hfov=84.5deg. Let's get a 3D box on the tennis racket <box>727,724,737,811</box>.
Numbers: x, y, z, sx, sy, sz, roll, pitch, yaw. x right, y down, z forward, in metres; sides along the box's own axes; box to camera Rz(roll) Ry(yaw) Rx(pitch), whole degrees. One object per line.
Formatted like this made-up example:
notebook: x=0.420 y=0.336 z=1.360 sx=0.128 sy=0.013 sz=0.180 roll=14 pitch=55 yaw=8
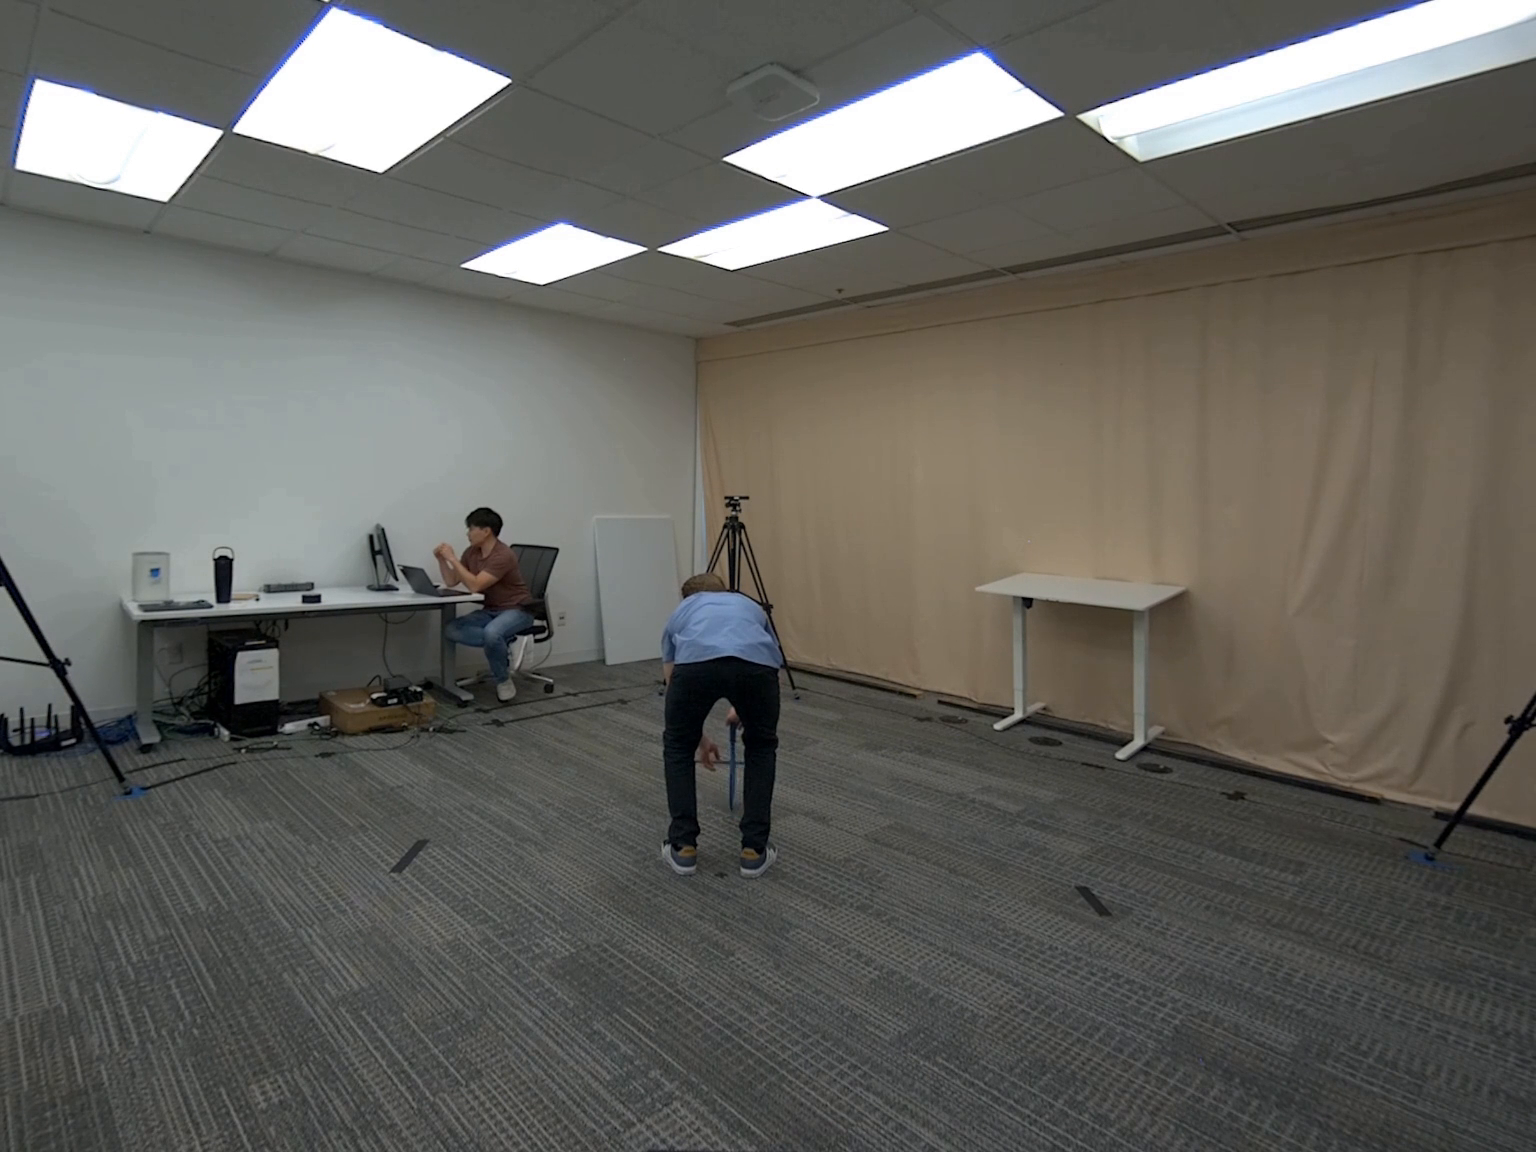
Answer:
tennis racket: x=-0.165 y=0.831 z=3.744 sx=0.032 sy=0.430 sz=0.214 roll=3 pitch=10 yaw=2
